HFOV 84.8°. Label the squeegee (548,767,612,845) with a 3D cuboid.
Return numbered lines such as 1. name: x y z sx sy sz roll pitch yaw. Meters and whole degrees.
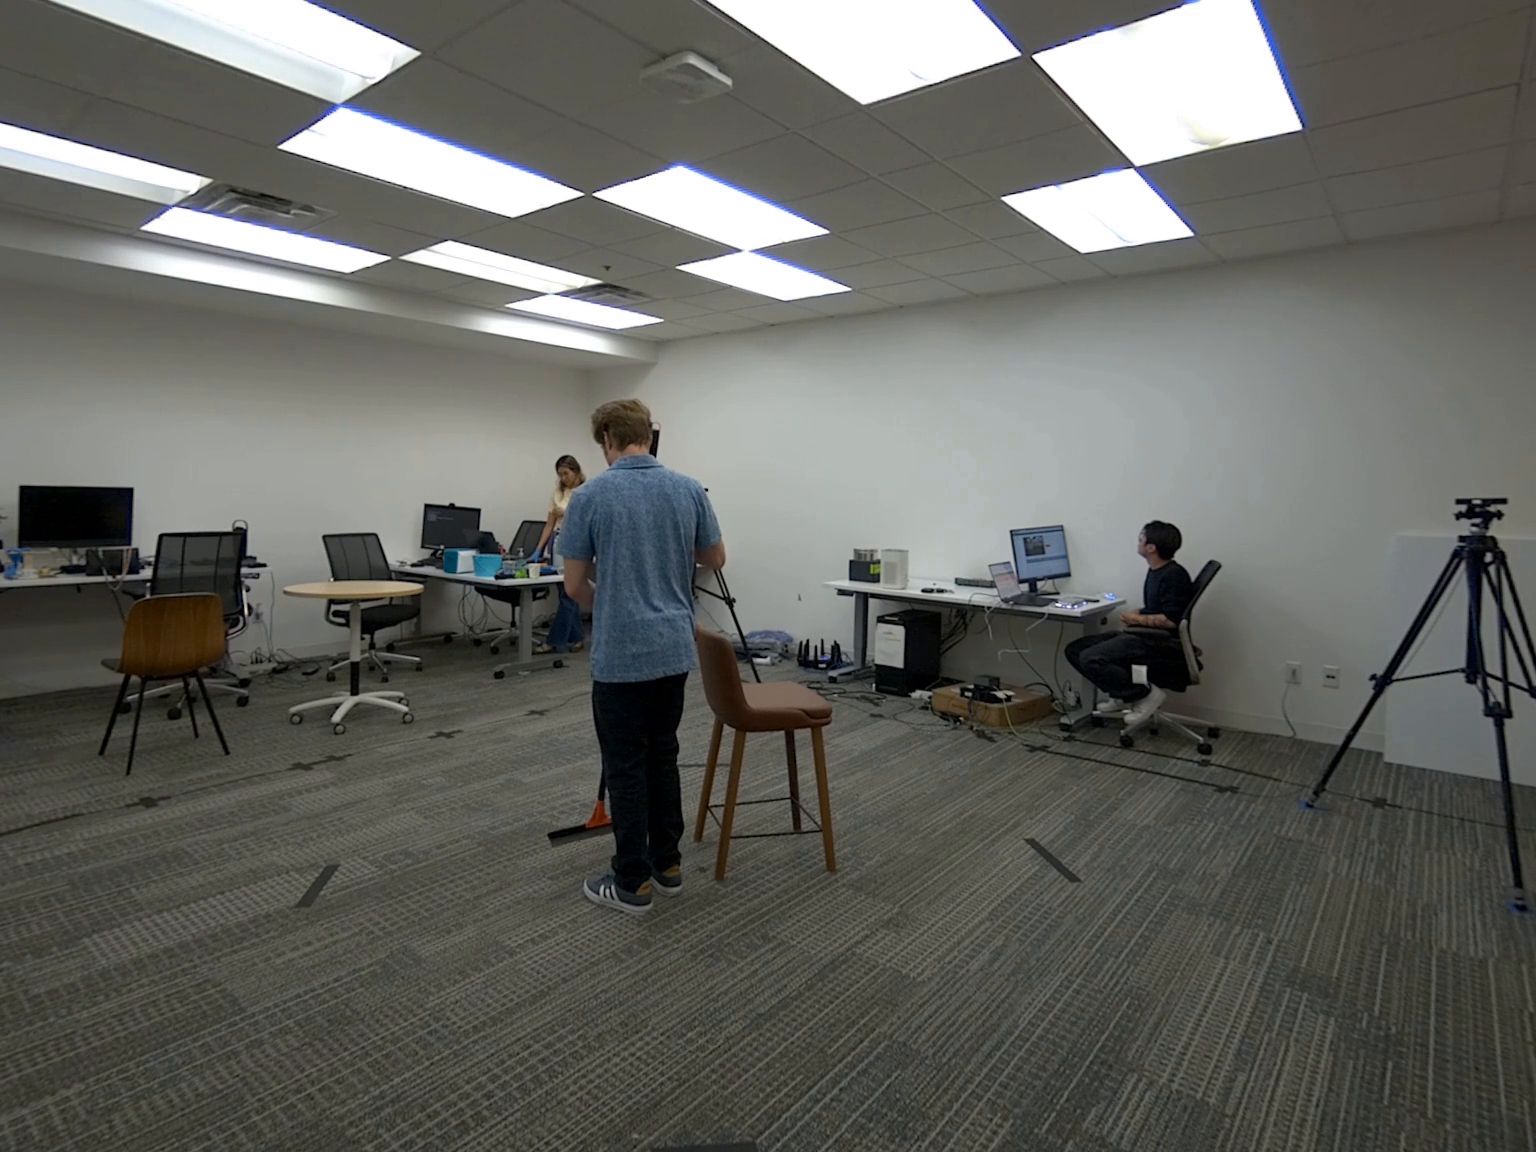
1. squeegee: -0.587 0.215 3.127 0.424 1.531 0.055 -2 6 -42
